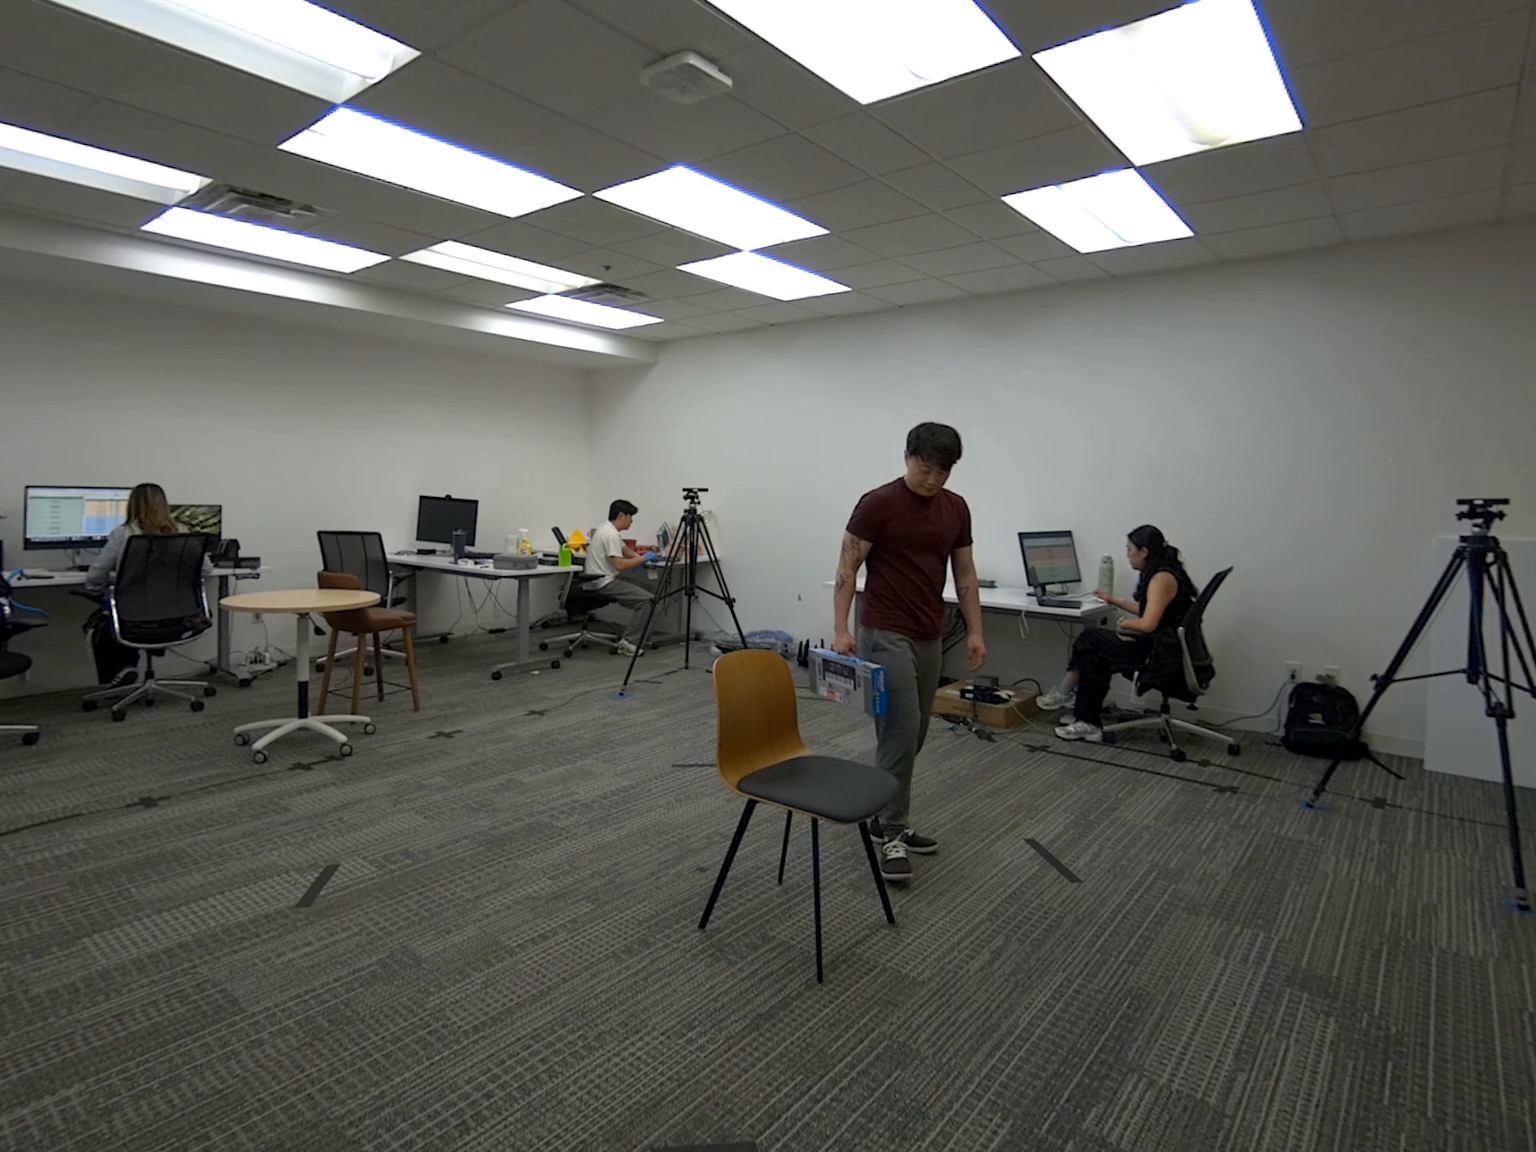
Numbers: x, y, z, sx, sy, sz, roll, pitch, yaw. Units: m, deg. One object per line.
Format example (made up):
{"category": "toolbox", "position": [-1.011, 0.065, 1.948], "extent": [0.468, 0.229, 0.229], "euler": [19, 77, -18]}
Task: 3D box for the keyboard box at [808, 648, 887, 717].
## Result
{"category": "keyboard box", "position": [0.283, 0.391, 3.207], "extent": [0.058, 0.175, 0.449], "euler": [-5, 7, -27]}
